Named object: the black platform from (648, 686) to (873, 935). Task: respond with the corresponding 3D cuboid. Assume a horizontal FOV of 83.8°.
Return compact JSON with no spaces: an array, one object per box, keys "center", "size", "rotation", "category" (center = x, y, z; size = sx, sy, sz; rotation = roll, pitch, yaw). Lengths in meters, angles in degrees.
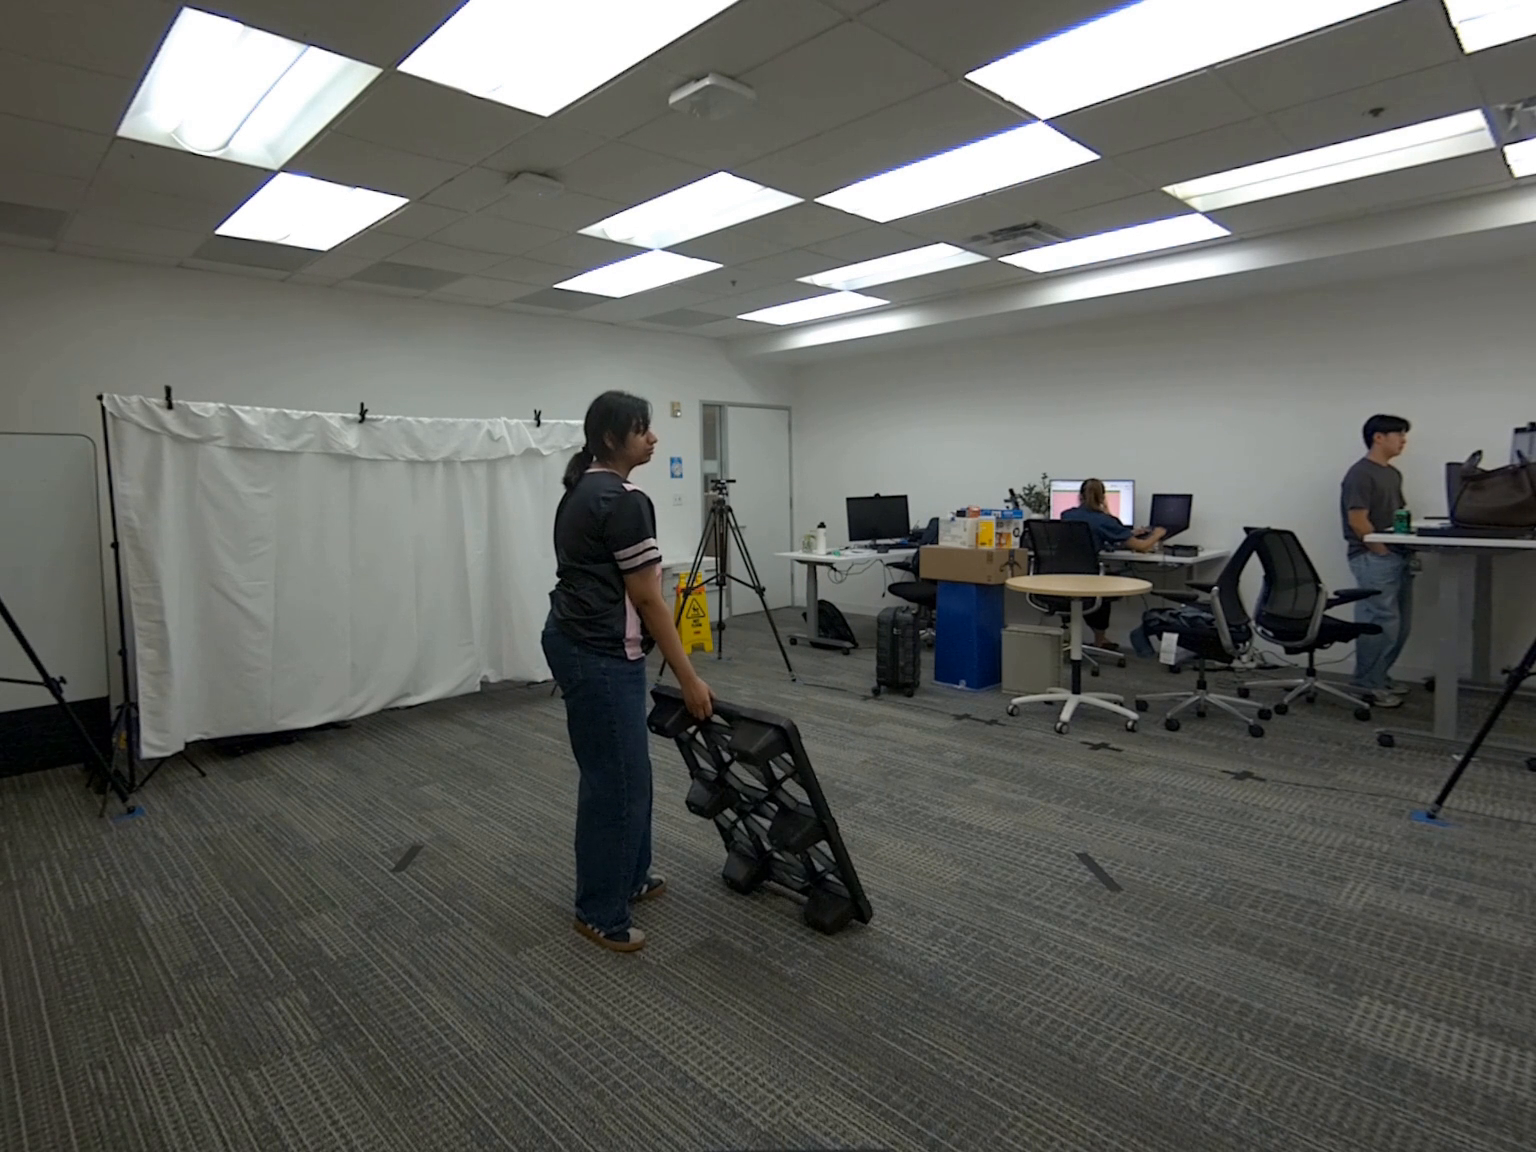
[{"center":[-0.052,0.739,2.682],"size":[0.624,0.785,0.142],"rotation":[4,34,46],"category":"black platform"}]
